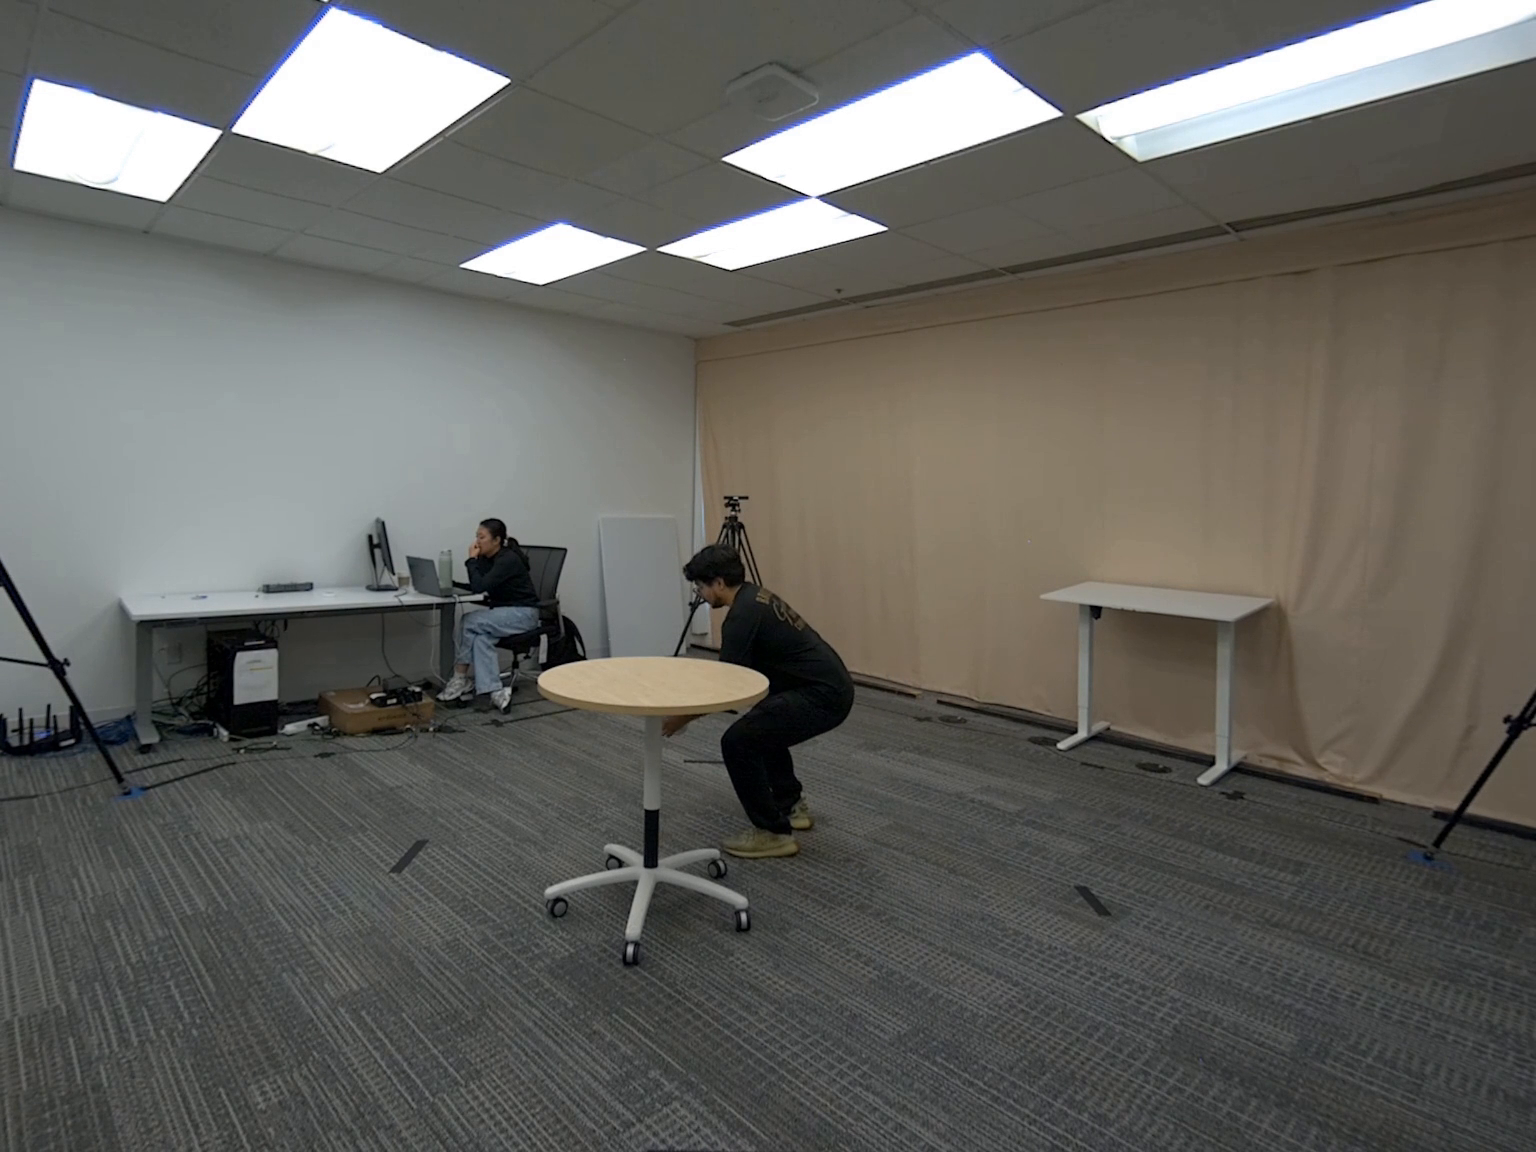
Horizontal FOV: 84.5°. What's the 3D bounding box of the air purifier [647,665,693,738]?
[{"bbox_3d":[-0.410,0.519,3.540,0.172,0.265,0.171,1,2,0],"label":"air purifier"}]
